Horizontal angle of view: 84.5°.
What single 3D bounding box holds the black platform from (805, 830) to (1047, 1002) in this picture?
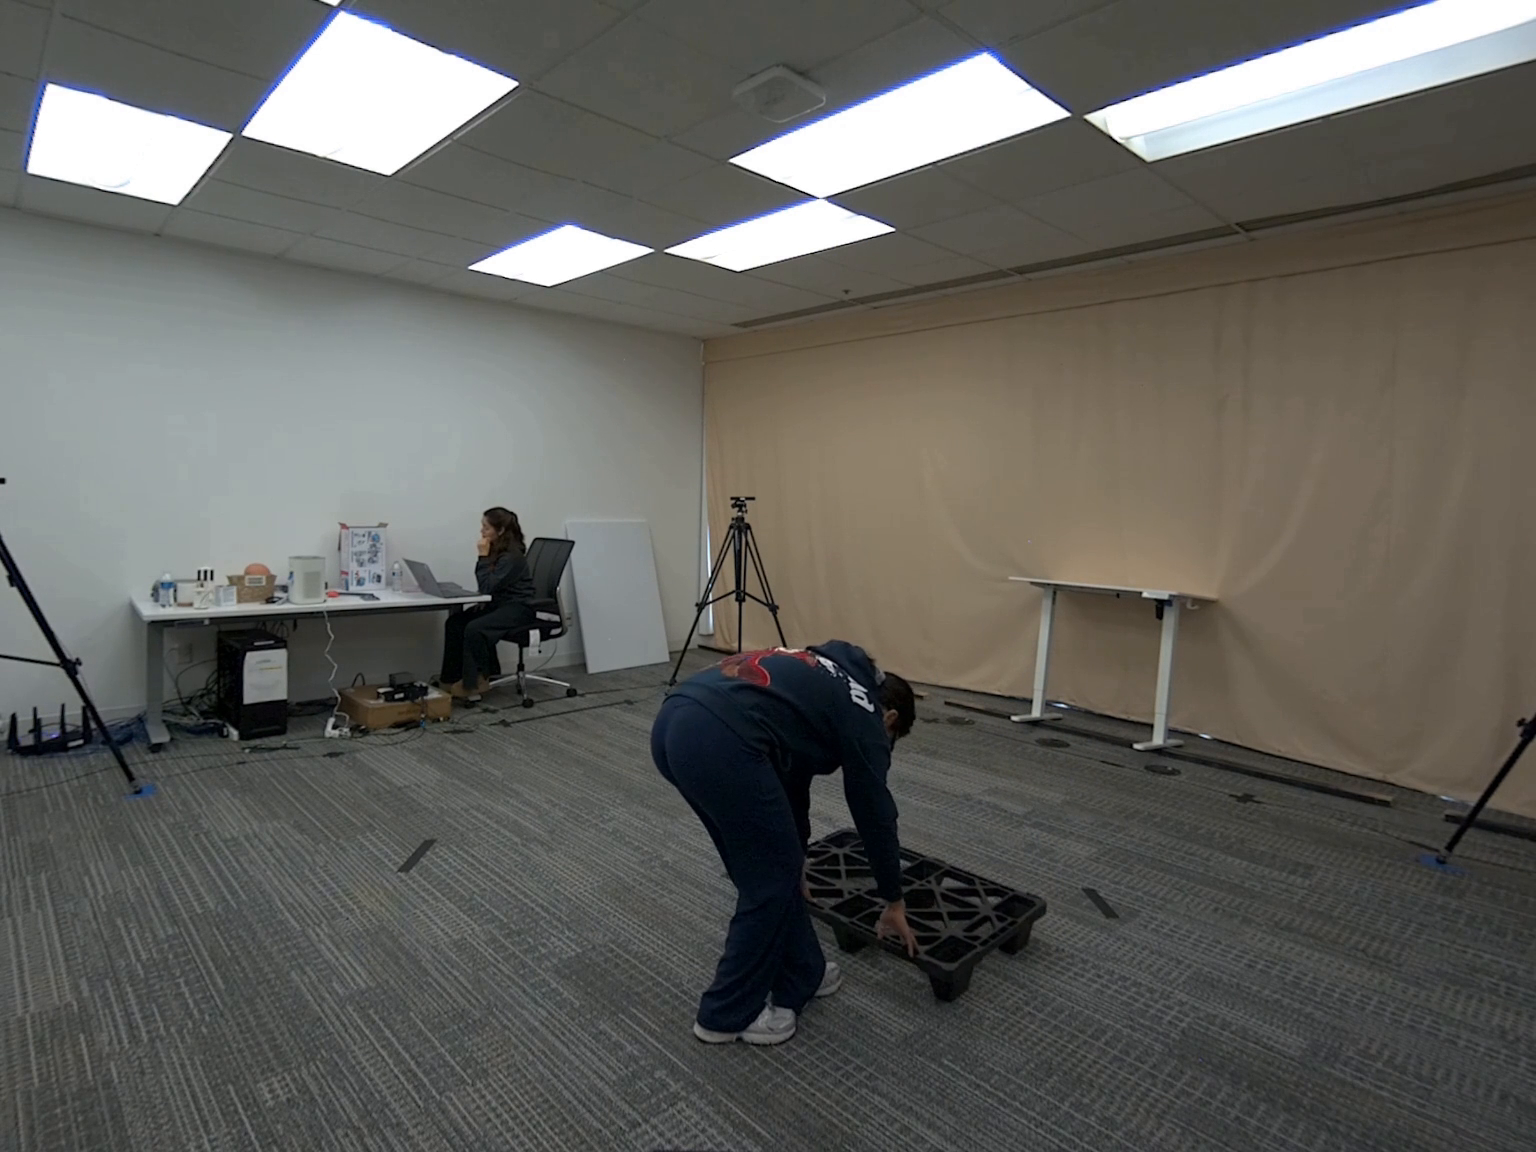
[{"bbox_3d":[0.397,1.085,2.761,0.826,0.143,0.592,6,8,44],"label":"black platform"}]
